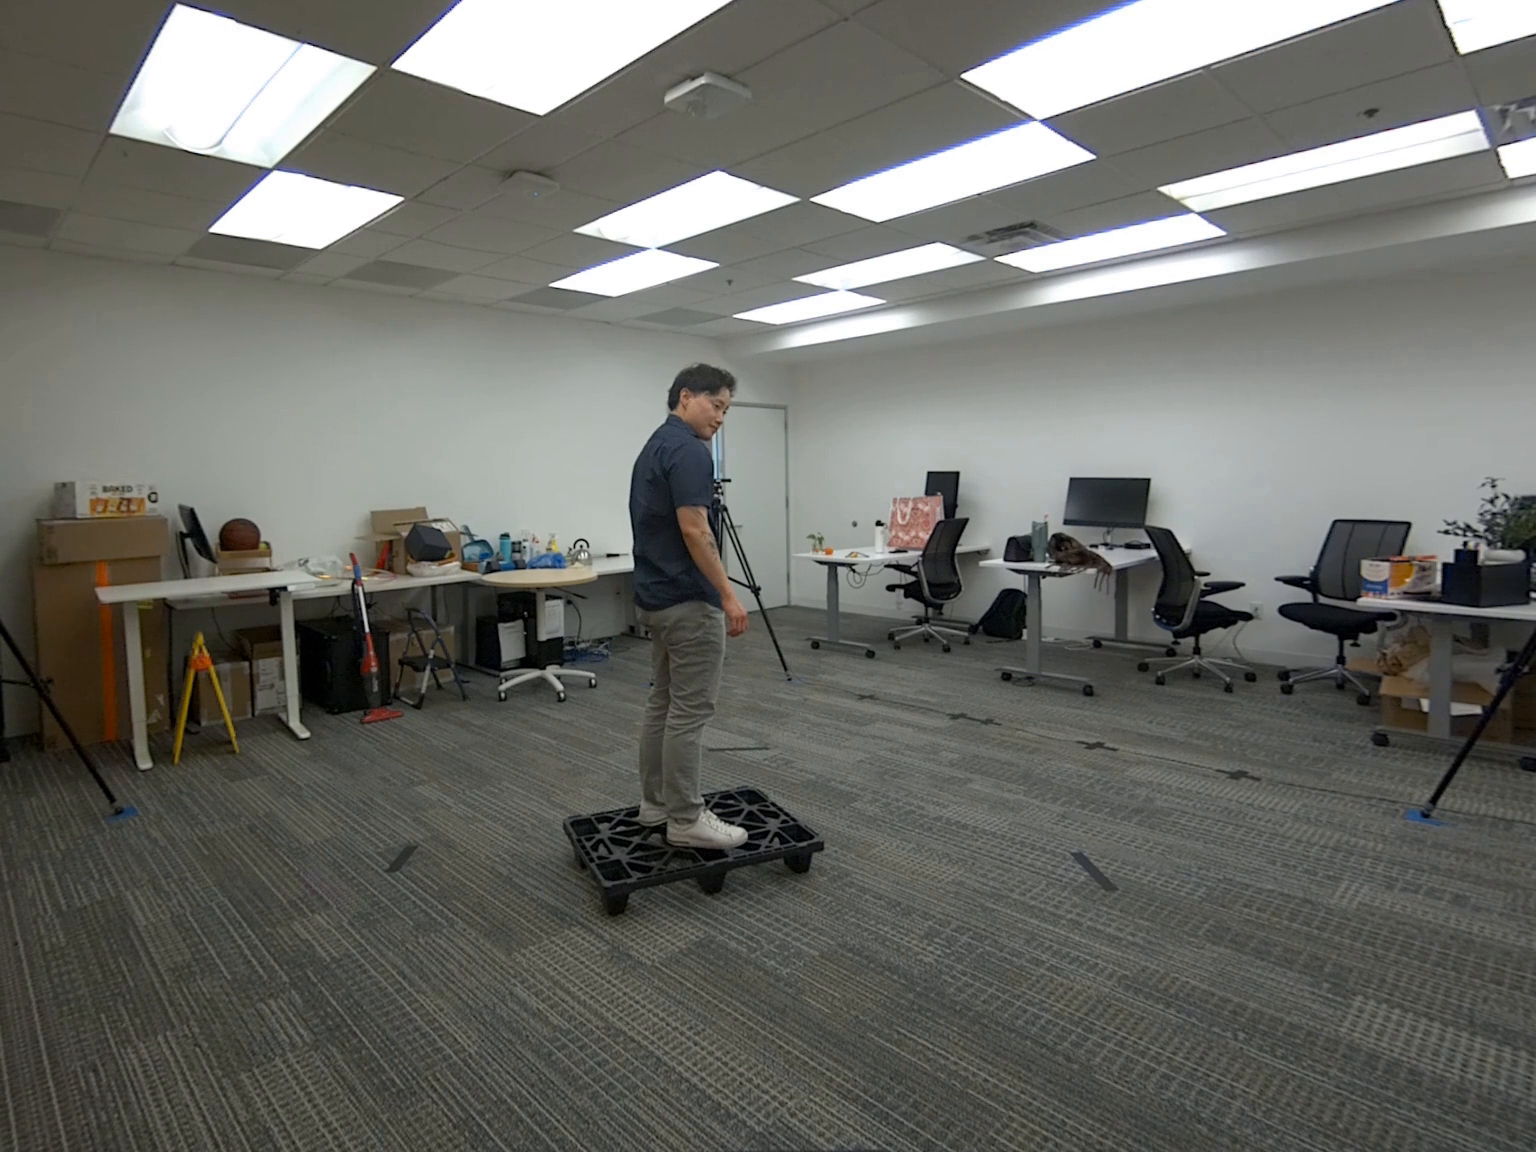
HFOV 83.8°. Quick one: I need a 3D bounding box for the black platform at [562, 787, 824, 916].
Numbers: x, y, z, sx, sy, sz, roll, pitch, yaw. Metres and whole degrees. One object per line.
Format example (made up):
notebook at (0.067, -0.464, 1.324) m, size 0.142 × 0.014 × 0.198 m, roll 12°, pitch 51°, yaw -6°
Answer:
black platform at (-0.289, 0.984, 3.101) m, size 0.789 × 0.143 × 0.620 m, roll -4°, pitch 7°, yaw -24°
